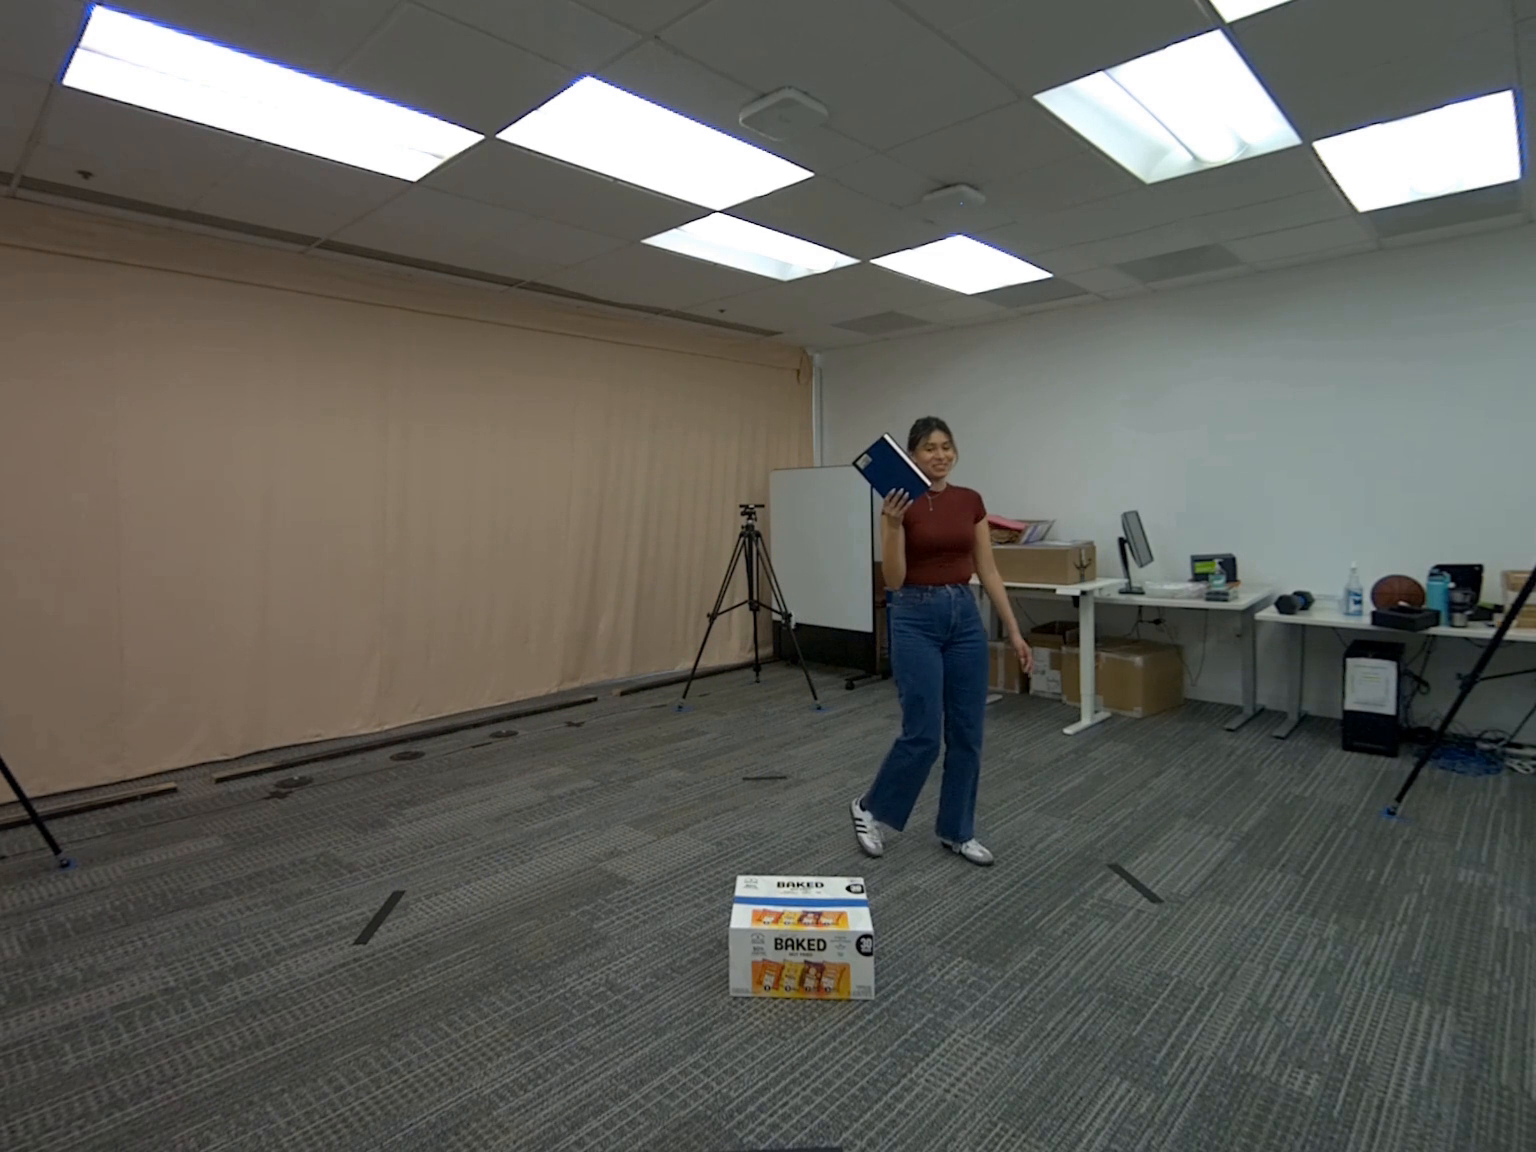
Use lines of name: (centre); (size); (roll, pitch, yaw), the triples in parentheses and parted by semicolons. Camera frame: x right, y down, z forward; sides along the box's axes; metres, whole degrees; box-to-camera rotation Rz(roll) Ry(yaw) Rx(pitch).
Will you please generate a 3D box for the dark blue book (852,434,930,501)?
dark blue book: (0.440, -0.361, 2.966); (0.165, 0.245, 0.045); (-41, 2, 35)
